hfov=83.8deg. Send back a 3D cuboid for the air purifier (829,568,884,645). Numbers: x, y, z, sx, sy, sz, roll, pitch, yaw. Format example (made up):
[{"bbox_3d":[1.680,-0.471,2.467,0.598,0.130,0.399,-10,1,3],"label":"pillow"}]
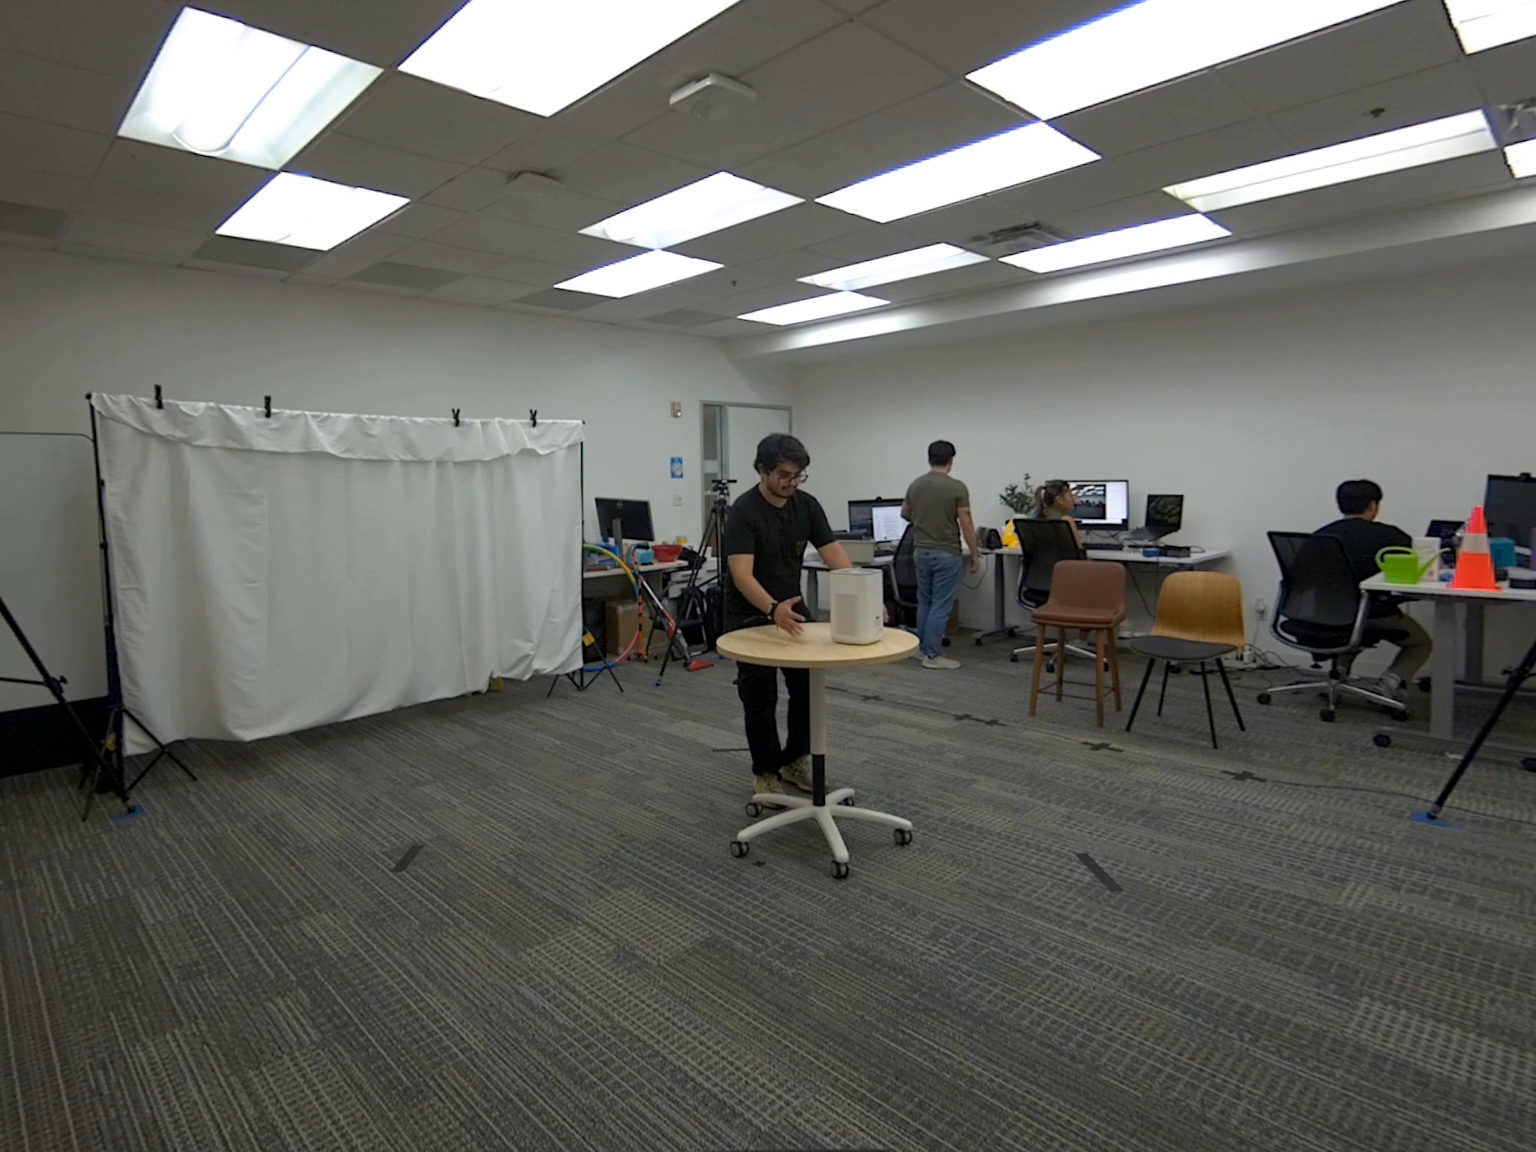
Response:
[{"bbox_3d":[0.339,0.112,3.196,0.176,0.264,0.167,0,5,31],"label":"air purifier"}]
